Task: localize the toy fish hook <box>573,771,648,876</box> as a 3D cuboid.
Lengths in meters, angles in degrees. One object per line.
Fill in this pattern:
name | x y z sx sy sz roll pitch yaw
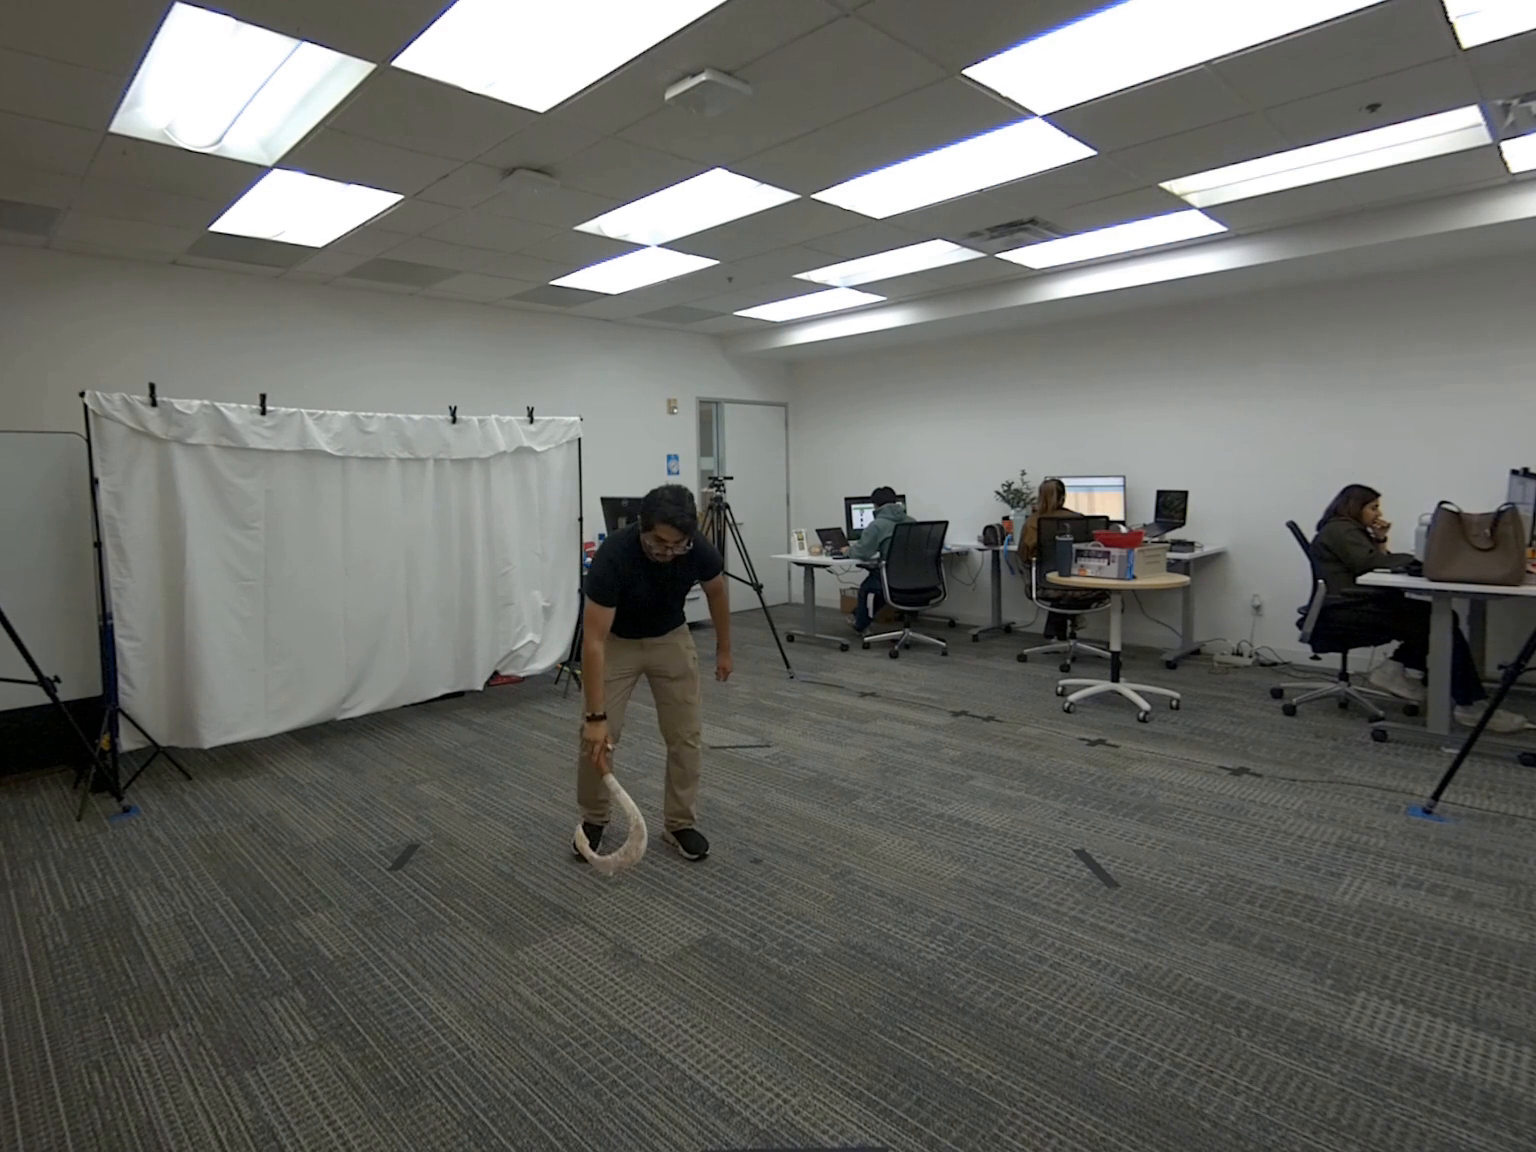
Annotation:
toy fish hook | -0.562 0.730 2.826 0.224 0.524 0.047 -21 -33 -6
